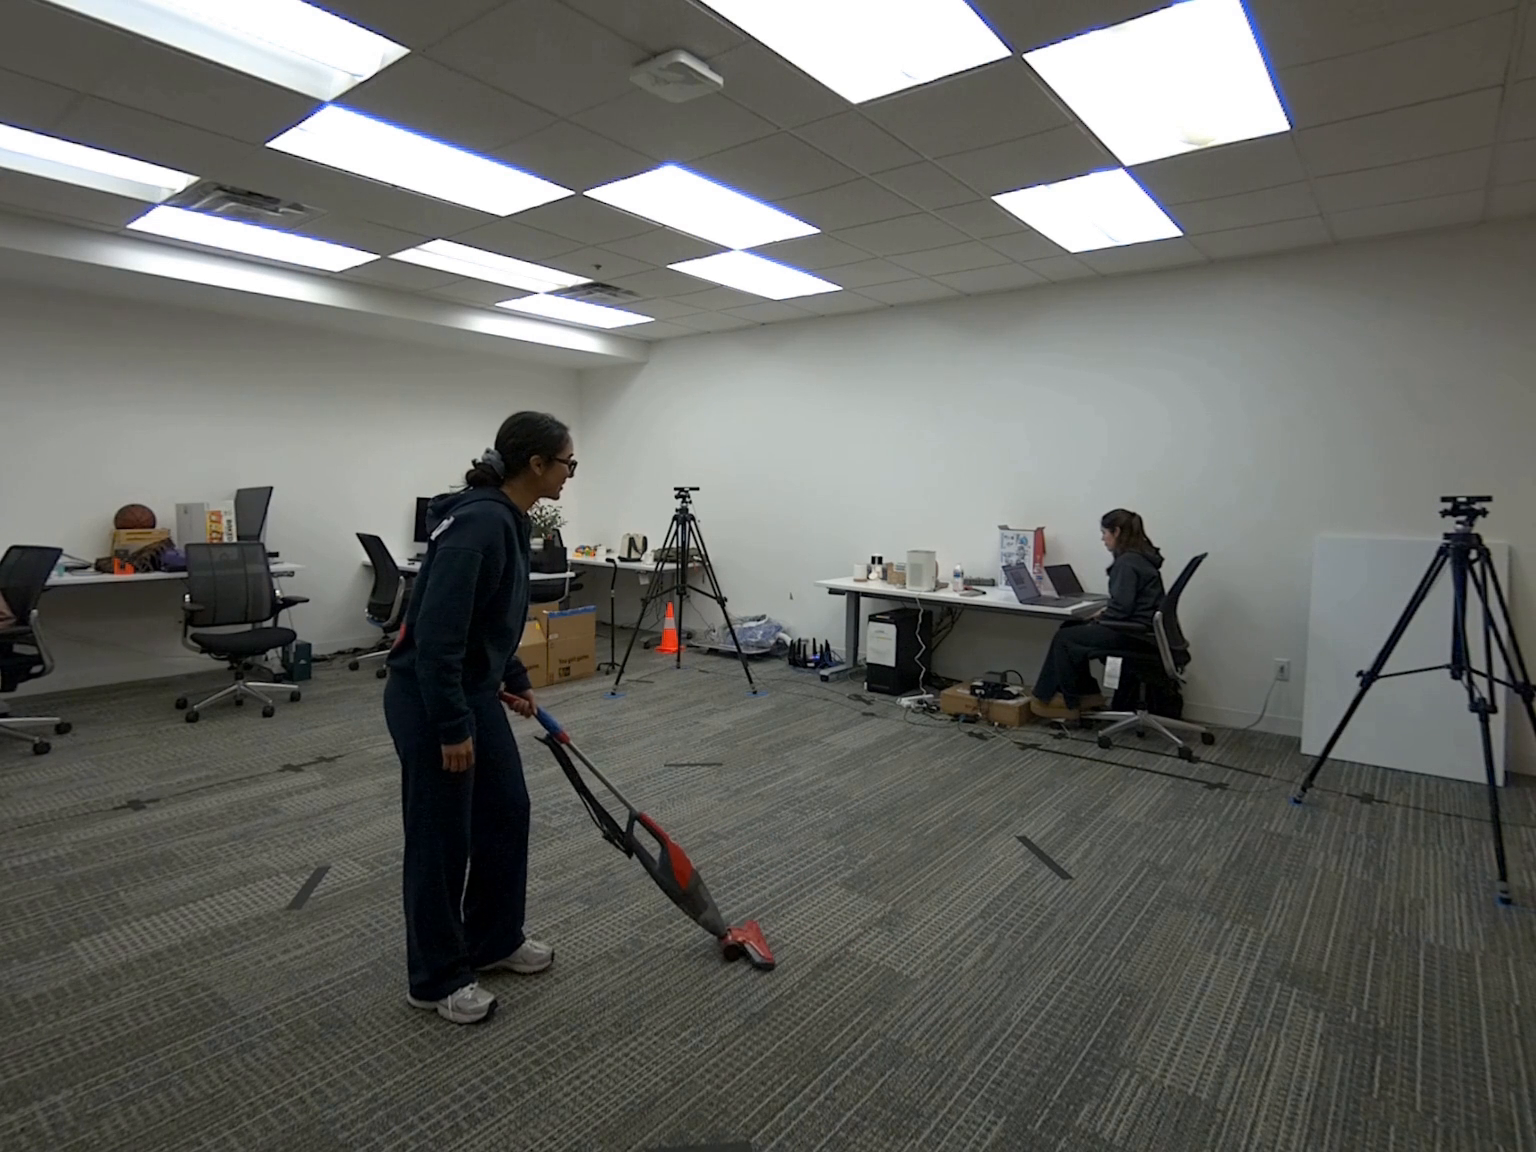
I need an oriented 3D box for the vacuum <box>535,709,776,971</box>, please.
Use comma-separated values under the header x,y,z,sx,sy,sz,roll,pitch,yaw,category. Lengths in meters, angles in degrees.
x,y,z,sx,sy,sz,roll,pitch,yaw,category
-0.408,0.735,2.494,0.144,1.037,0.256,-44,8,-11,vacuum
